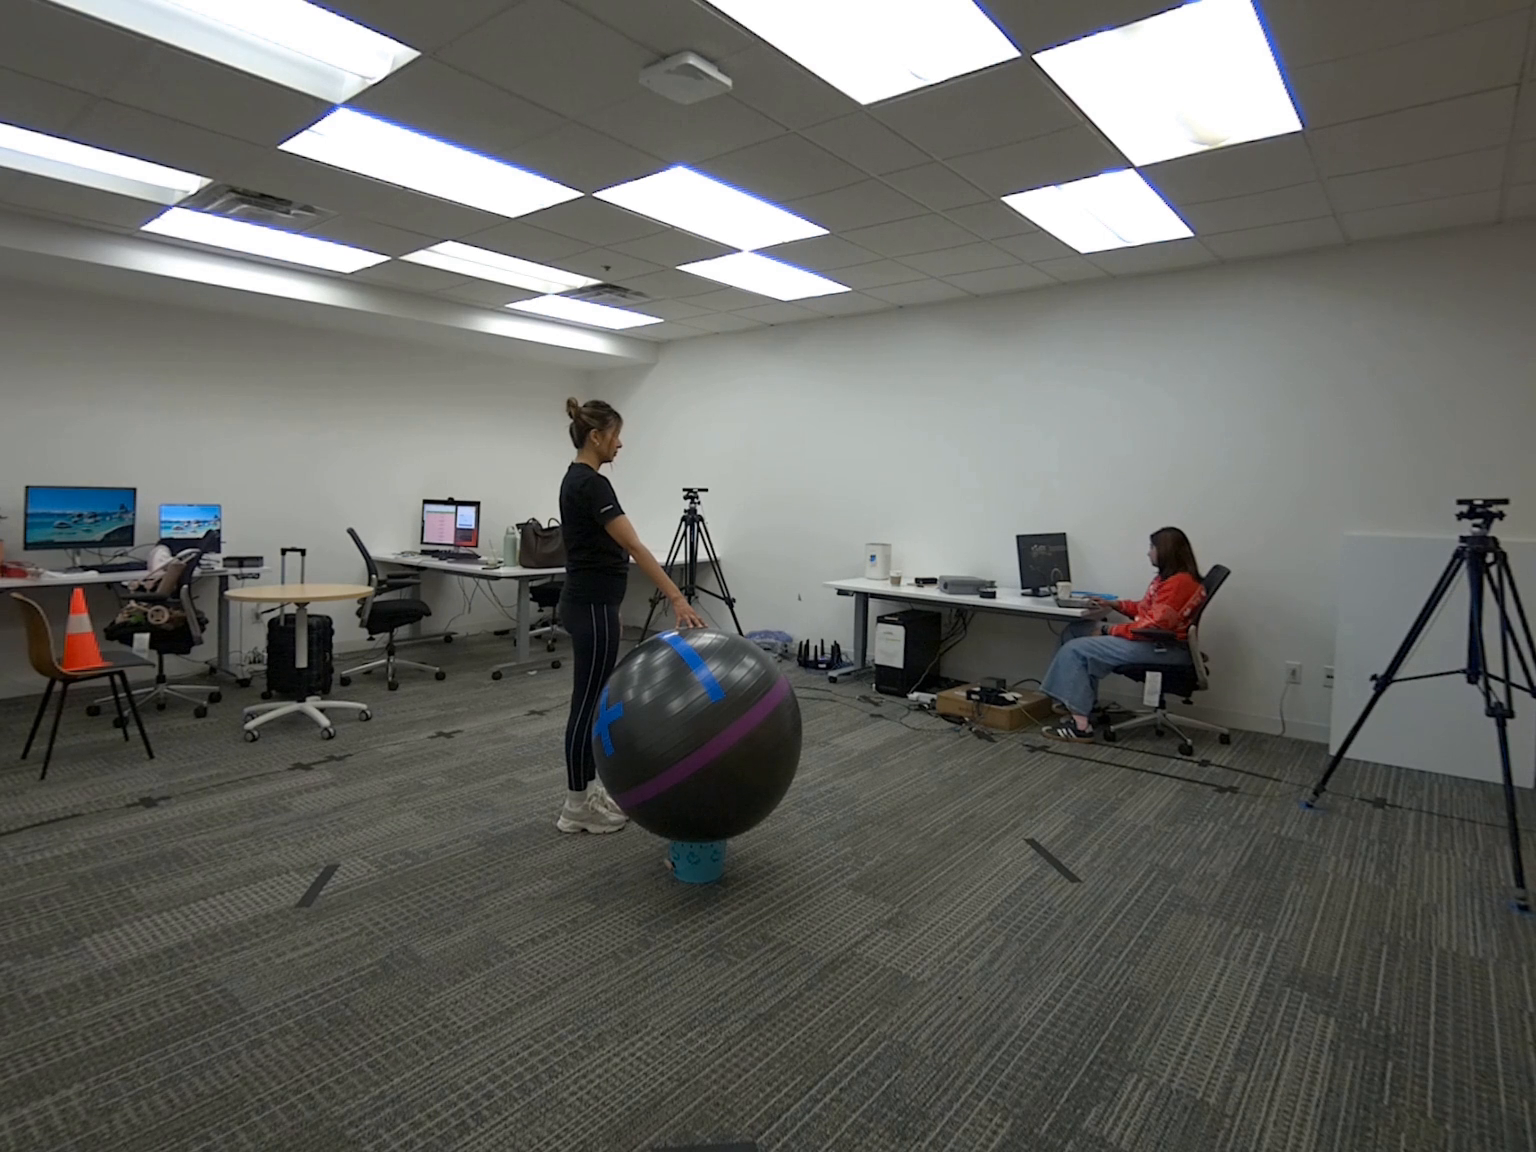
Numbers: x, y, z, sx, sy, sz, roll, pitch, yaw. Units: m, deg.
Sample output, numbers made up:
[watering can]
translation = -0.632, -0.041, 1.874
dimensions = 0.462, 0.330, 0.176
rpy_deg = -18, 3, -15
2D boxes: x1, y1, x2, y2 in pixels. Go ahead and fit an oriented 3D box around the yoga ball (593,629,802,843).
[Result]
[yoga ball]
translation = -0.267, 0.567, 3.071
dimensions = 0.757, 0.755, 0.762
rpy_deg = 1, 4, -2
